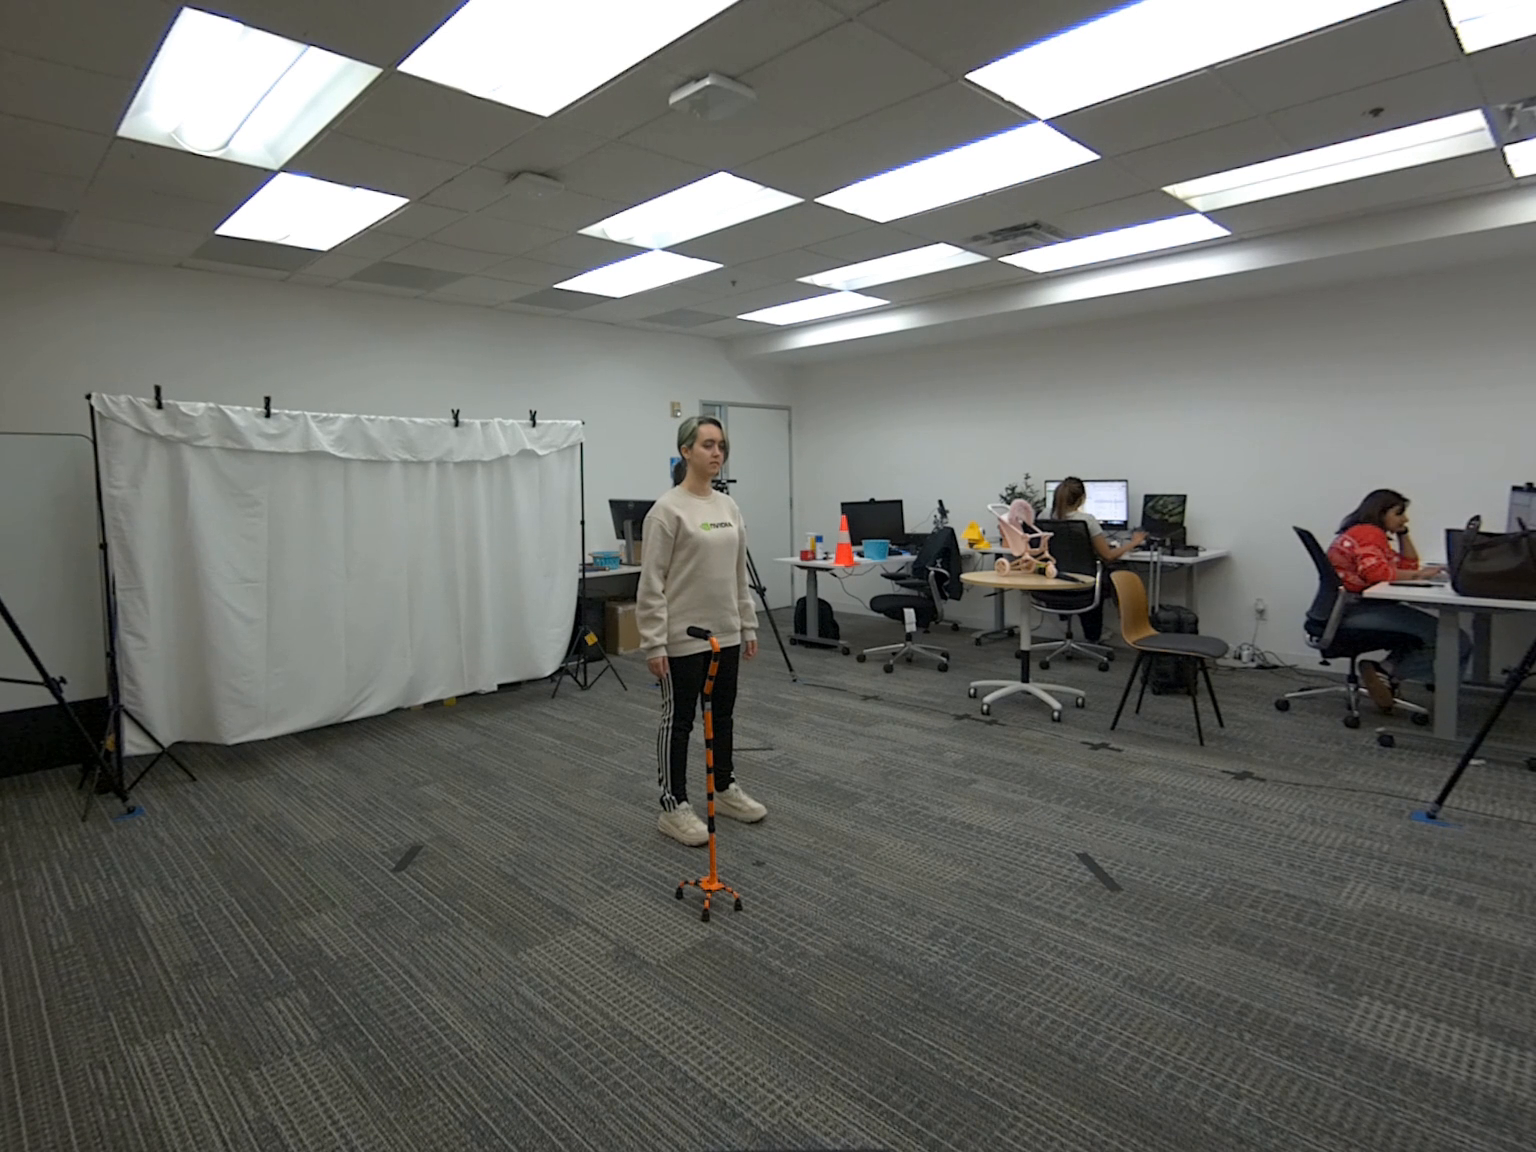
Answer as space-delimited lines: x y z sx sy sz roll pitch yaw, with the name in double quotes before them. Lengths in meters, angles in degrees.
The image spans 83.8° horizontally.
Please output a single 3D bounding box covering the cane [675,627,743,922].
"cane" -0.203 0.631 2.797 0.148 0.905 0.212 -4 4 -33
